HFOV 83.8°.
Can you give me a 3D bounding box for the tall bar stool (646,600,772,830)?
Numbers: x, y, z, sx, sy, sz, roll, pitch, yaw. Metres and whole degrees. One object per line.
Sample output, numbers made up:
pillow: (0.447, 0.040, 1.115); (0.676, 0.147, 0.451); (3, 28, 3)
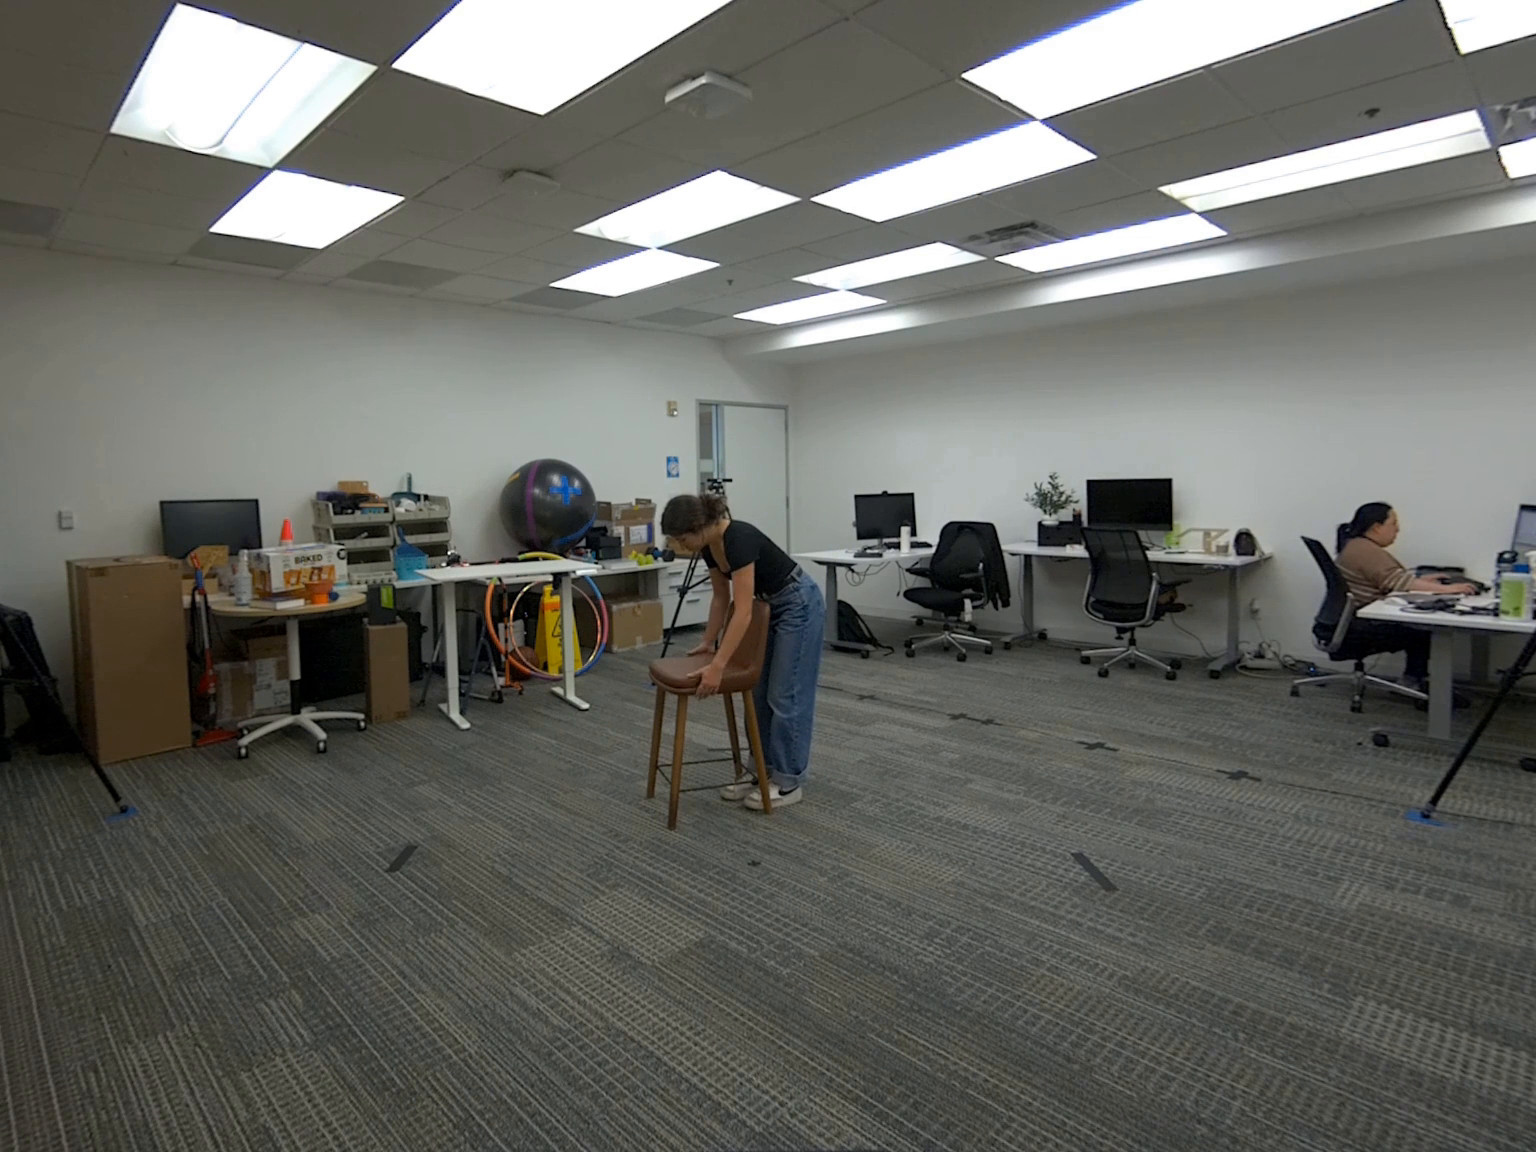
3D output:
tall bar stool: (-0.261, 0.547, 3.649); (0.459, 0.887, 0.466); (-1, 3, -21)
